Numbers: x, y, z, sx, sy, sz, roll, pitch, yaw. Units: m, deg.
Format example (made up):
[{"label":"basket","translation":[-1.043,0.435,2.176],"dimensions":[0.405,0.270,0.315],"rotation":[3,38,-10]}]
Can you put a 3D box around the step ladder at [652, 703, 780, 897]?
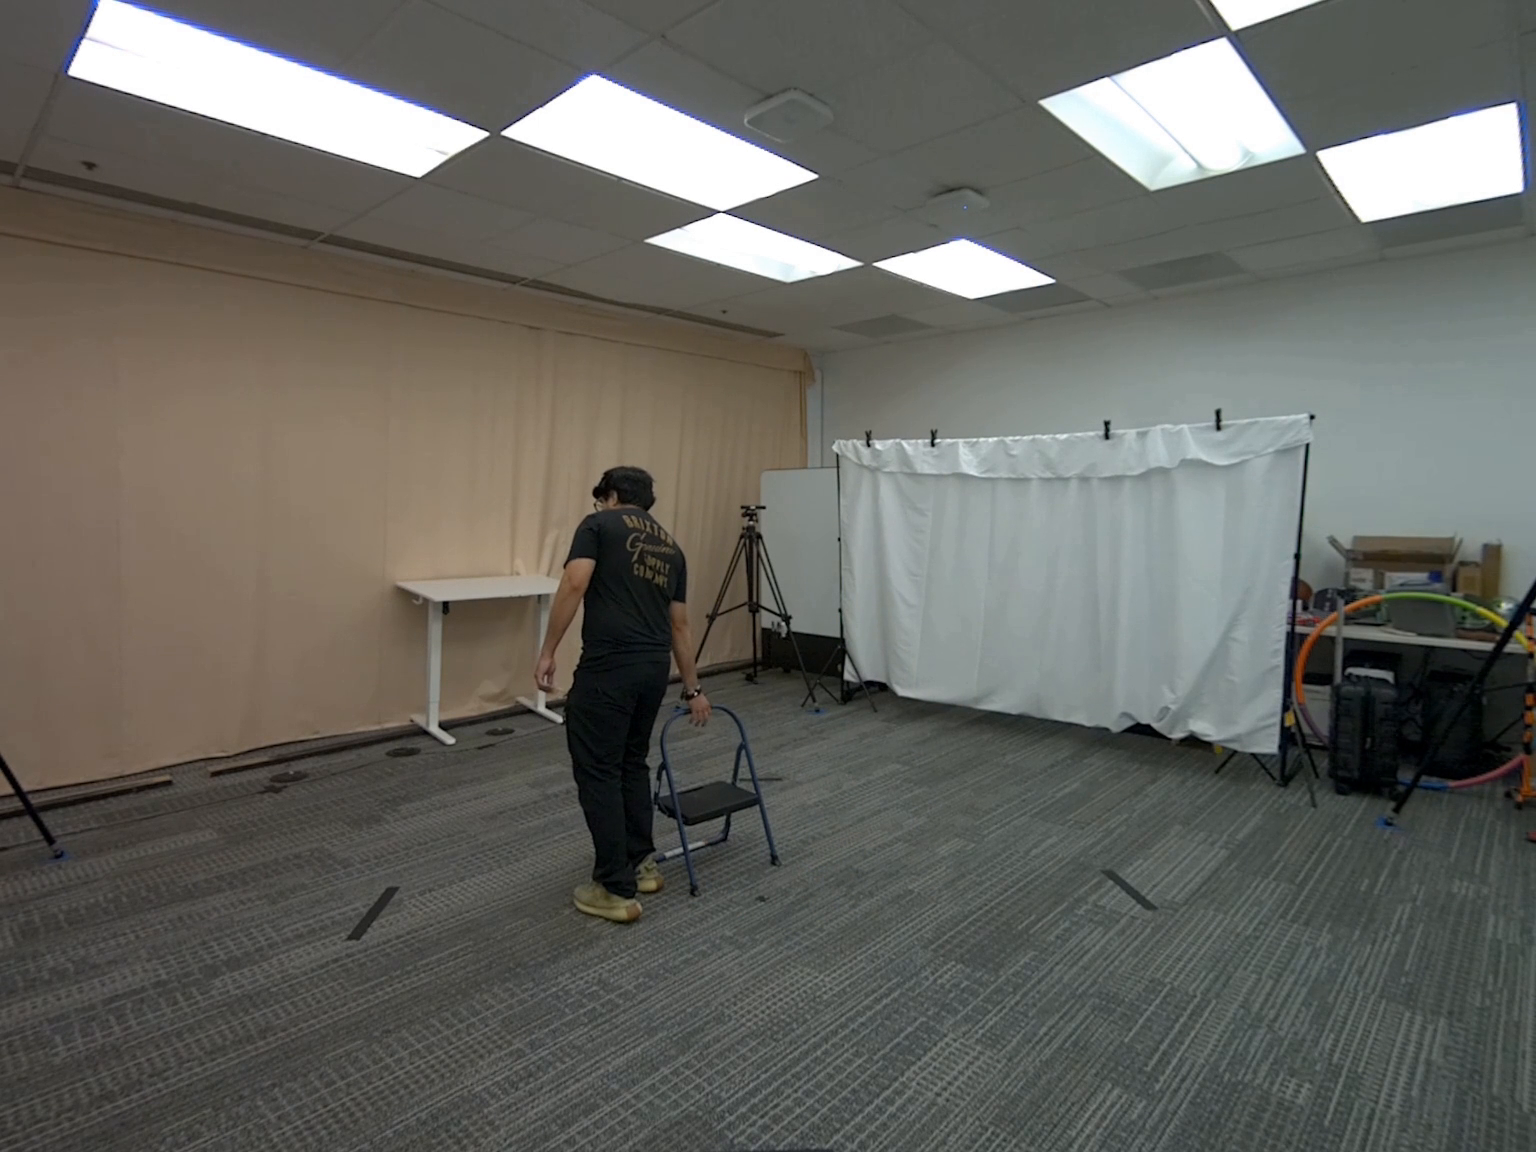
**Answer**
[{"label":"step ladder","translation":[-0.218,0.818,3.252],"dimensions":[0.417,0.605,0.361],"rotation":[-3,4,-41]}]
